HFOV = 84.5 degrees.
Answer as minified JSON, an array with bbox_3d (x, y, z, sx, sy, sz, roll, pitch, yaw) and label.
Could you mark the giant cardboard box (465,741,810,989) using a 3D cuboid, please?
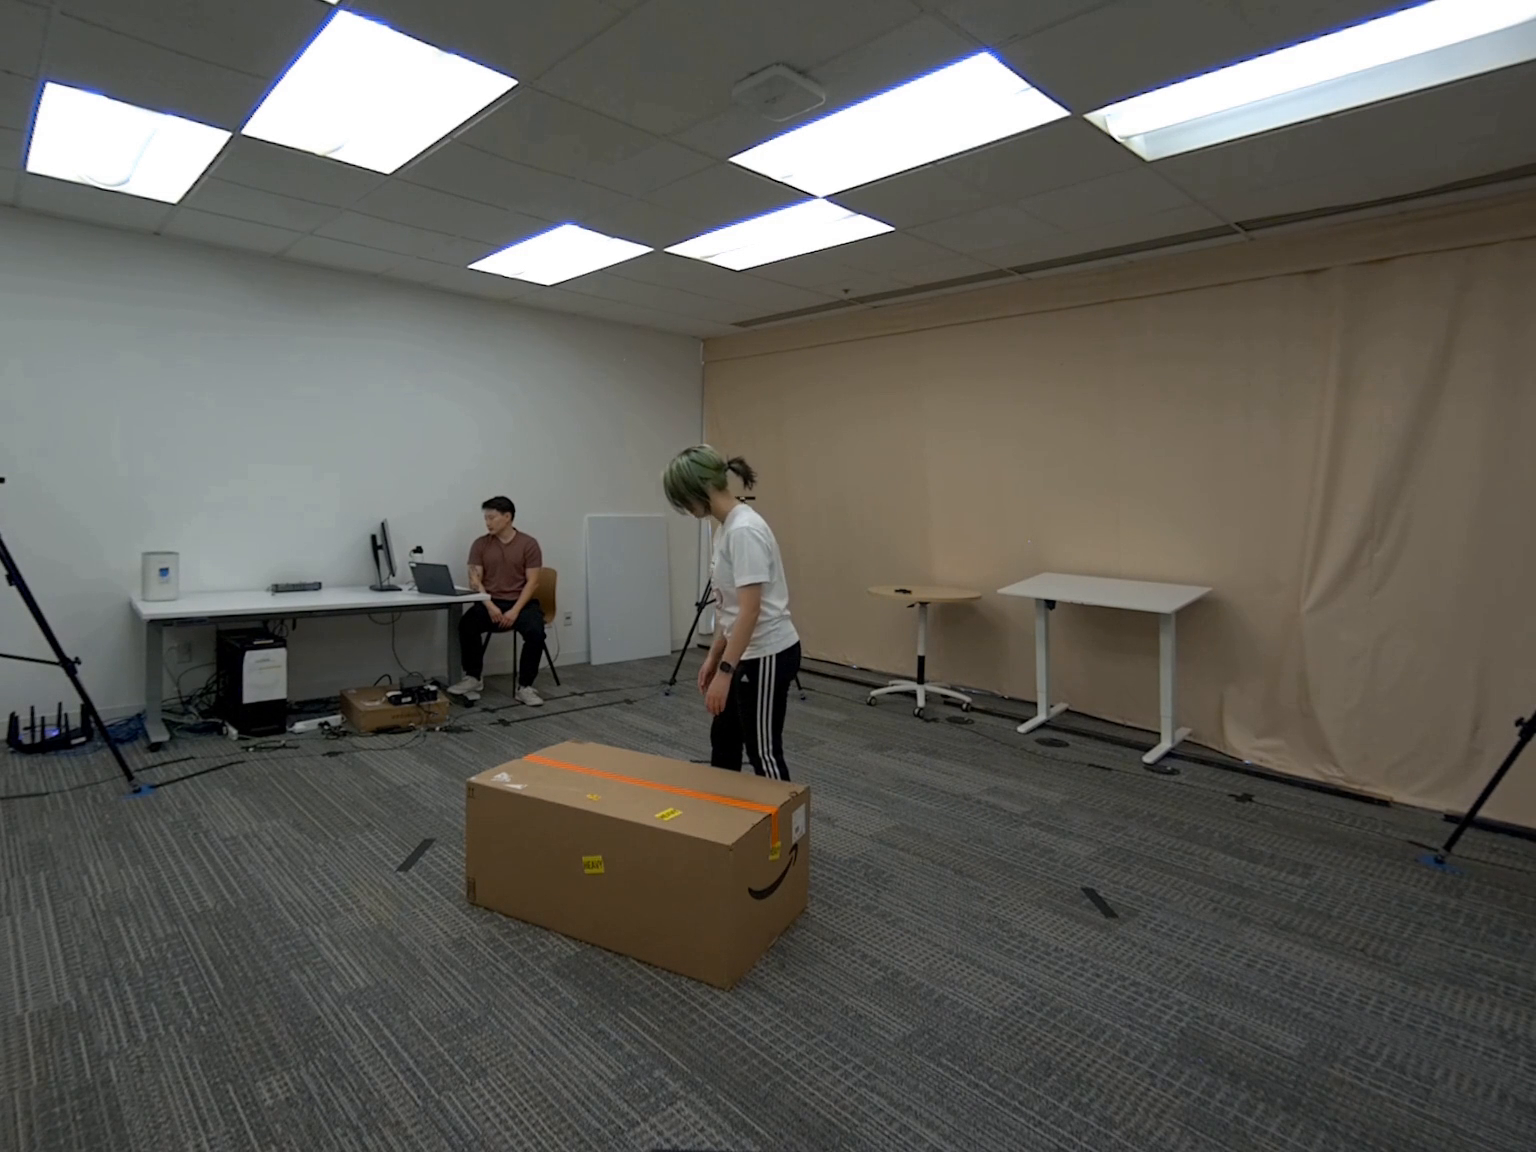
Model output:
[{"bbox_3d":[-0.442,0.902,2.850,1.047,0.425,0.567,4,6,27],"label":"giant cardboard box"}]
